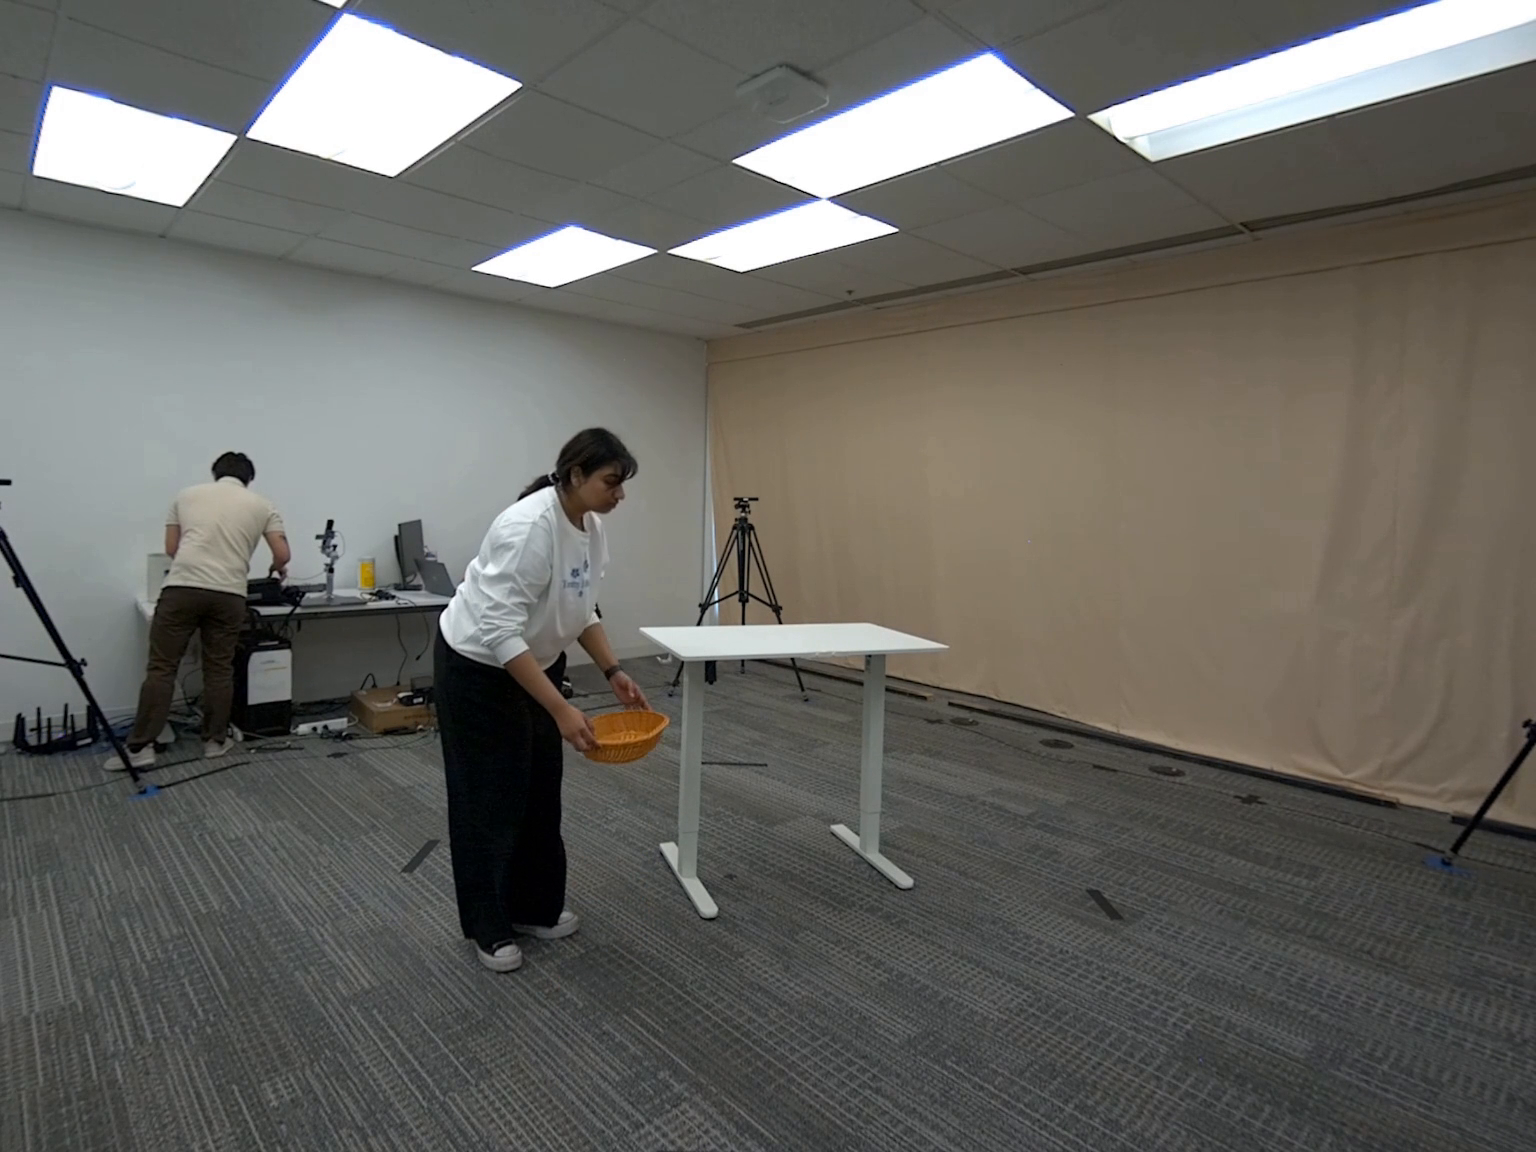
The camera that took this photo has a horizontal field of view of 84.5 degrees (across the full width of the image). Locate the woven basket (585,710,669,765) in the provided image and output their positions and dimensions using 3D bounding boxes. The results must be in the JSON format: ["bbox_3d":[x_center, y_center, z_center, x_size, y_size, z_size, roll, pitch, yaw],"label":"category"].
[{"bbox_3d":[-0.461,0.488,2.429,0.256,0.073,0.347,2,8,16],"label":"woven basket"}]
